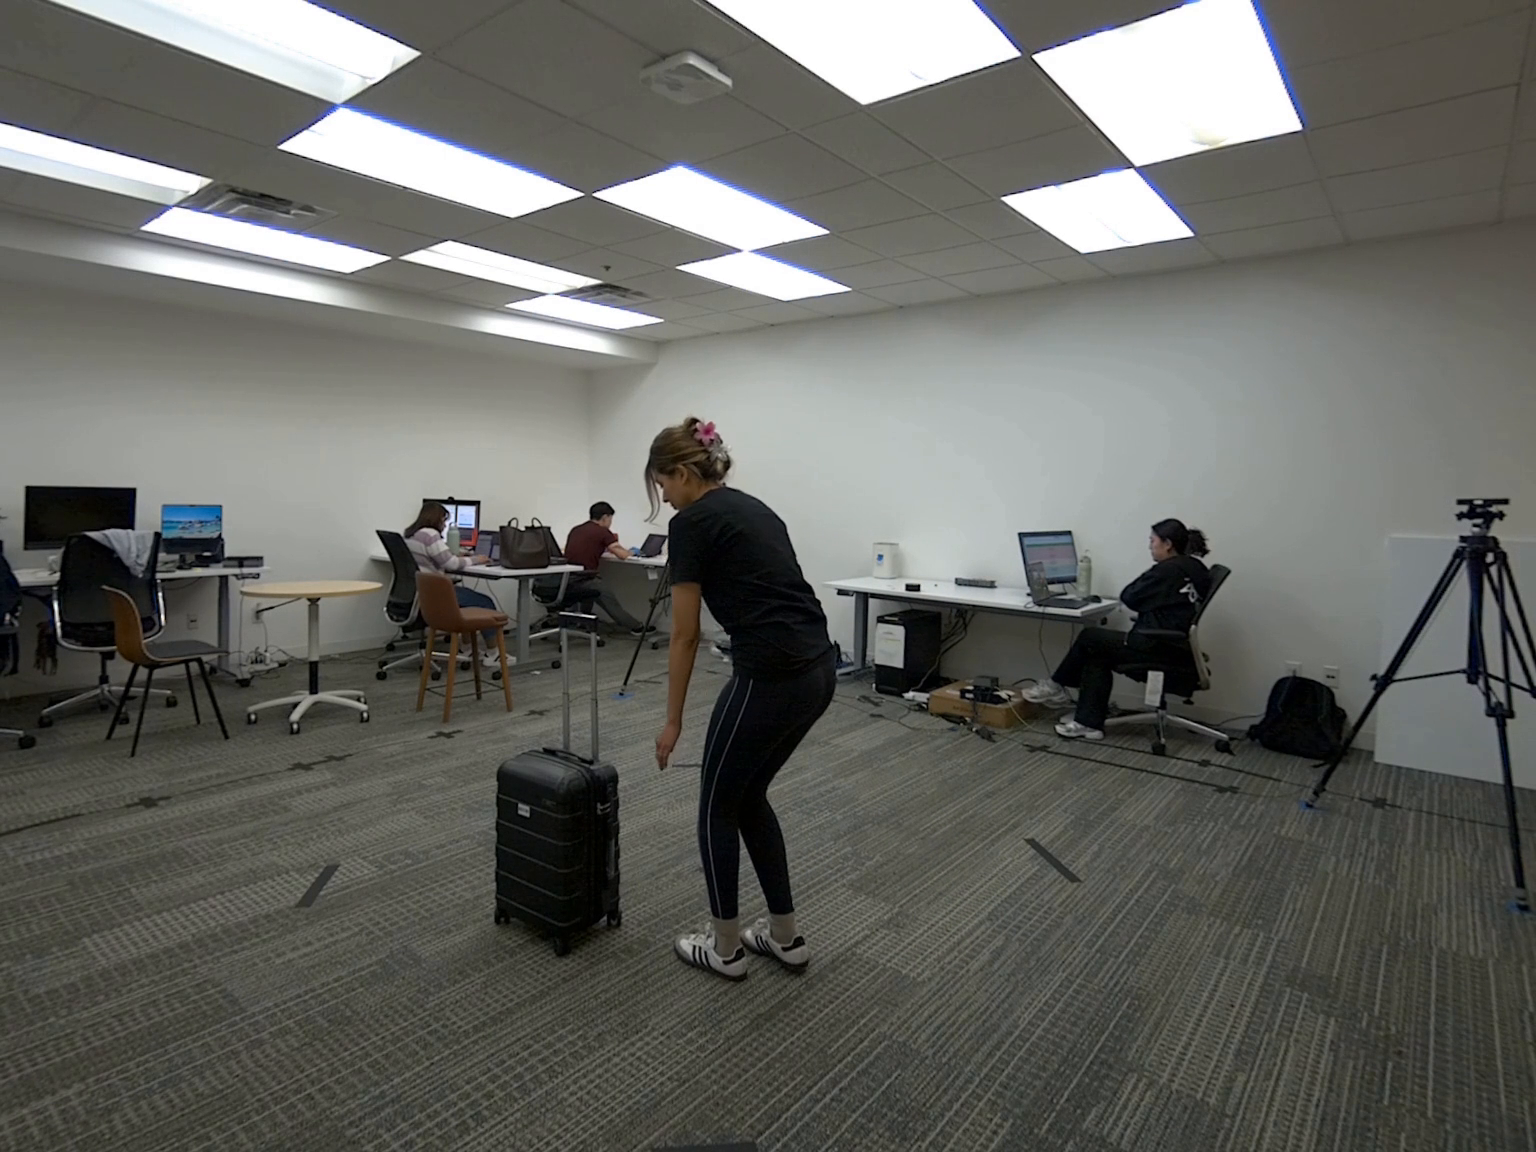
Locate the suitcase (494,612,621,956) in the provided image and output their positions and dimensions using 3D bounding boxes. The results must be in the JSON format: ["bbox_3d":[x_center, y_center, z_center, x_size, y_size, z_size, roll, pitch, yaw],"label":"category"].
[{"bbox_3d":[-0.671,0.633,2.642,0.396,0.972,0.250,5,8,35],"label":"suitcase"}]
